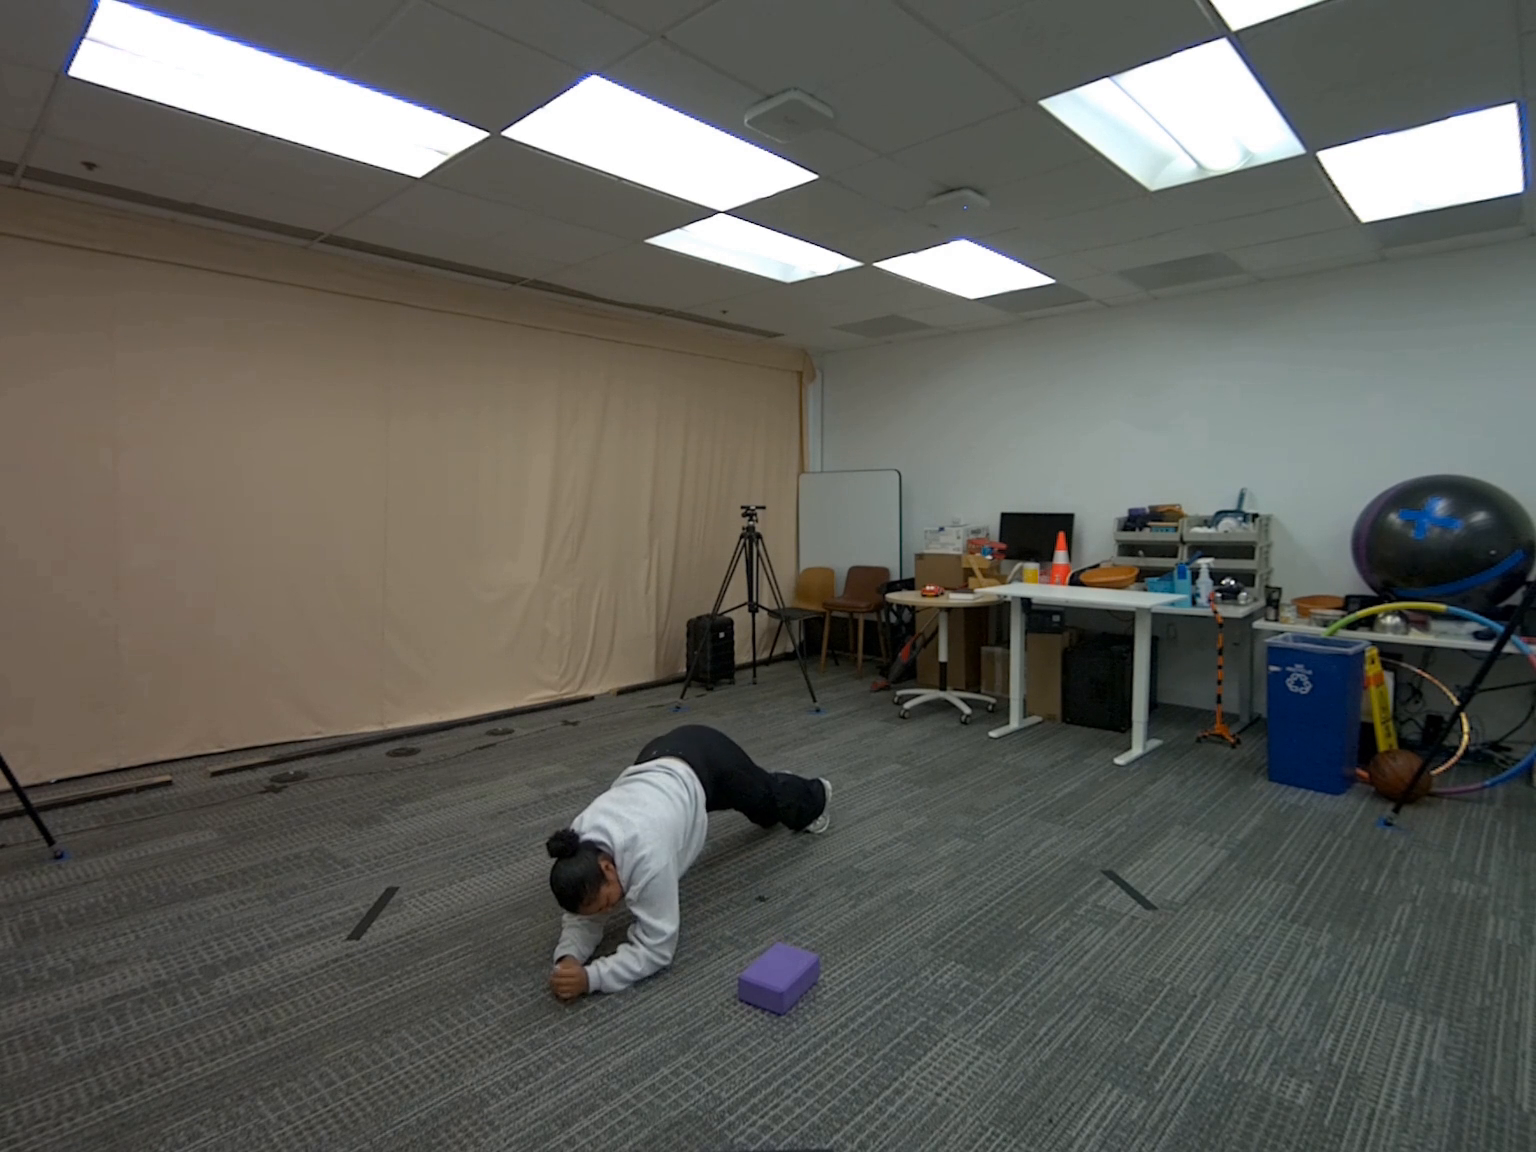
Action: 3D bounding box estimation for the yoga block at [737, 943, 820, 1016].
[{"bbox_3d":[0.038,1.148,2.417,0.153,0.076,0.223,4,5,32],"label":"yoga block"}]
